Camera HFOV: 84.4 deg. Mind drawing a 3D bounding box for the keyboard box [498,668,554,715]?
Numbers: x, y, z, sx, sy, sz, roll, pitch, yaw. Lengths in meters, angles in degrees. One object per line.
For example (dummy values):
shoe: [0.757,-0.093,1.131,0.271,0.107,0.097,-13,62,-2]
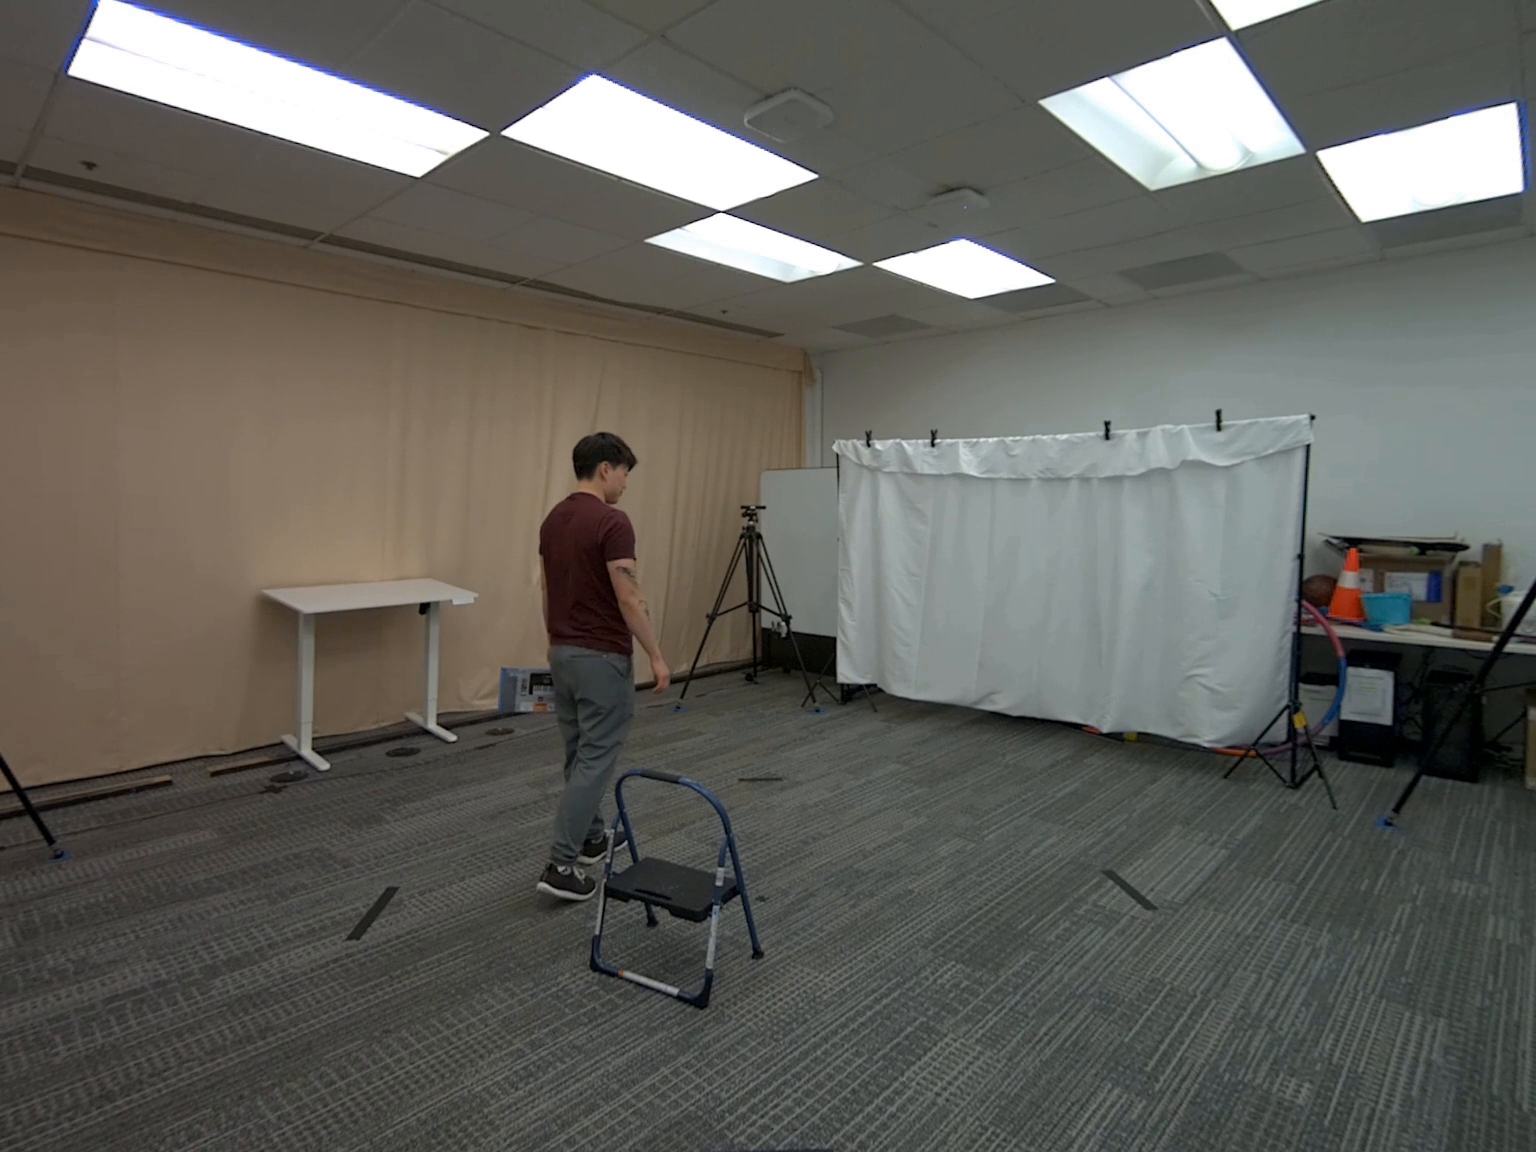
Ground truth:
keyboard box: [-0.855,0.467,3.396,0.425,0.176,0.060,5,-4,-26]
